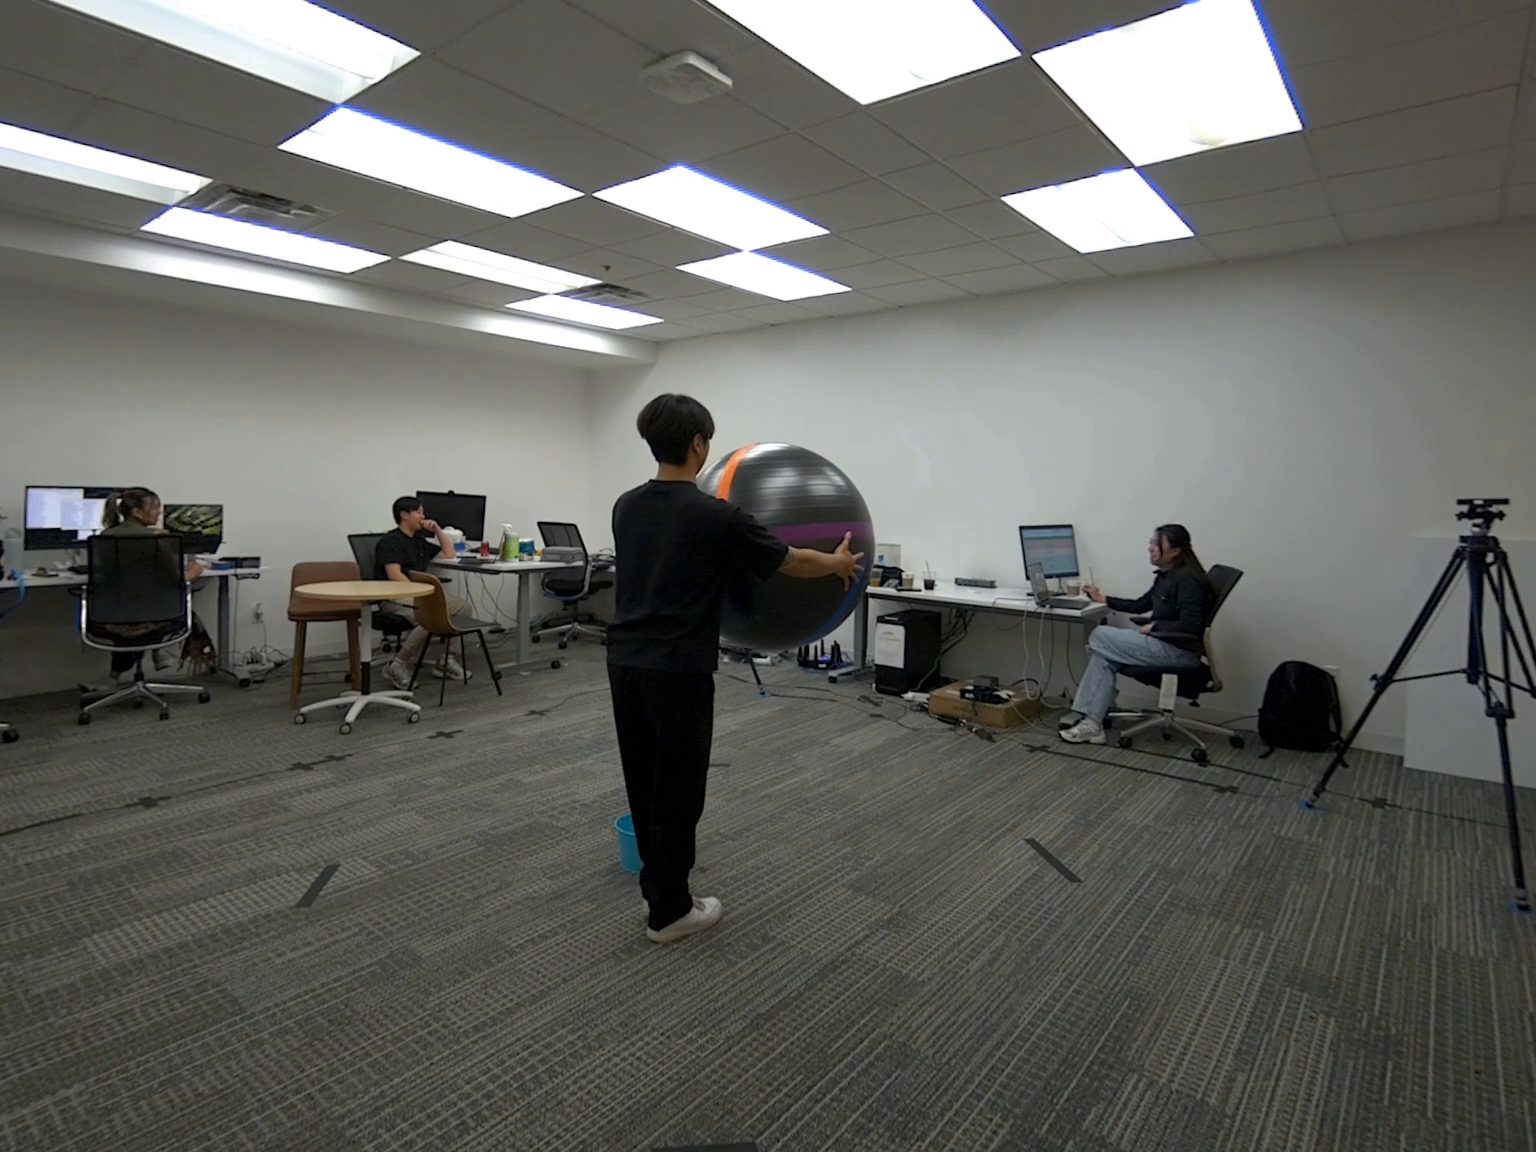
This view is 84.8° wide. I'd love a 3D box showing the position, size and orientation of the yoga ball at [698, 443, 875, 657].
[{"bbox_3d":[0.012,-0.113,3.164,0.757,0.755,0.762,1,4,-2],"label":"yoga ball"}]
